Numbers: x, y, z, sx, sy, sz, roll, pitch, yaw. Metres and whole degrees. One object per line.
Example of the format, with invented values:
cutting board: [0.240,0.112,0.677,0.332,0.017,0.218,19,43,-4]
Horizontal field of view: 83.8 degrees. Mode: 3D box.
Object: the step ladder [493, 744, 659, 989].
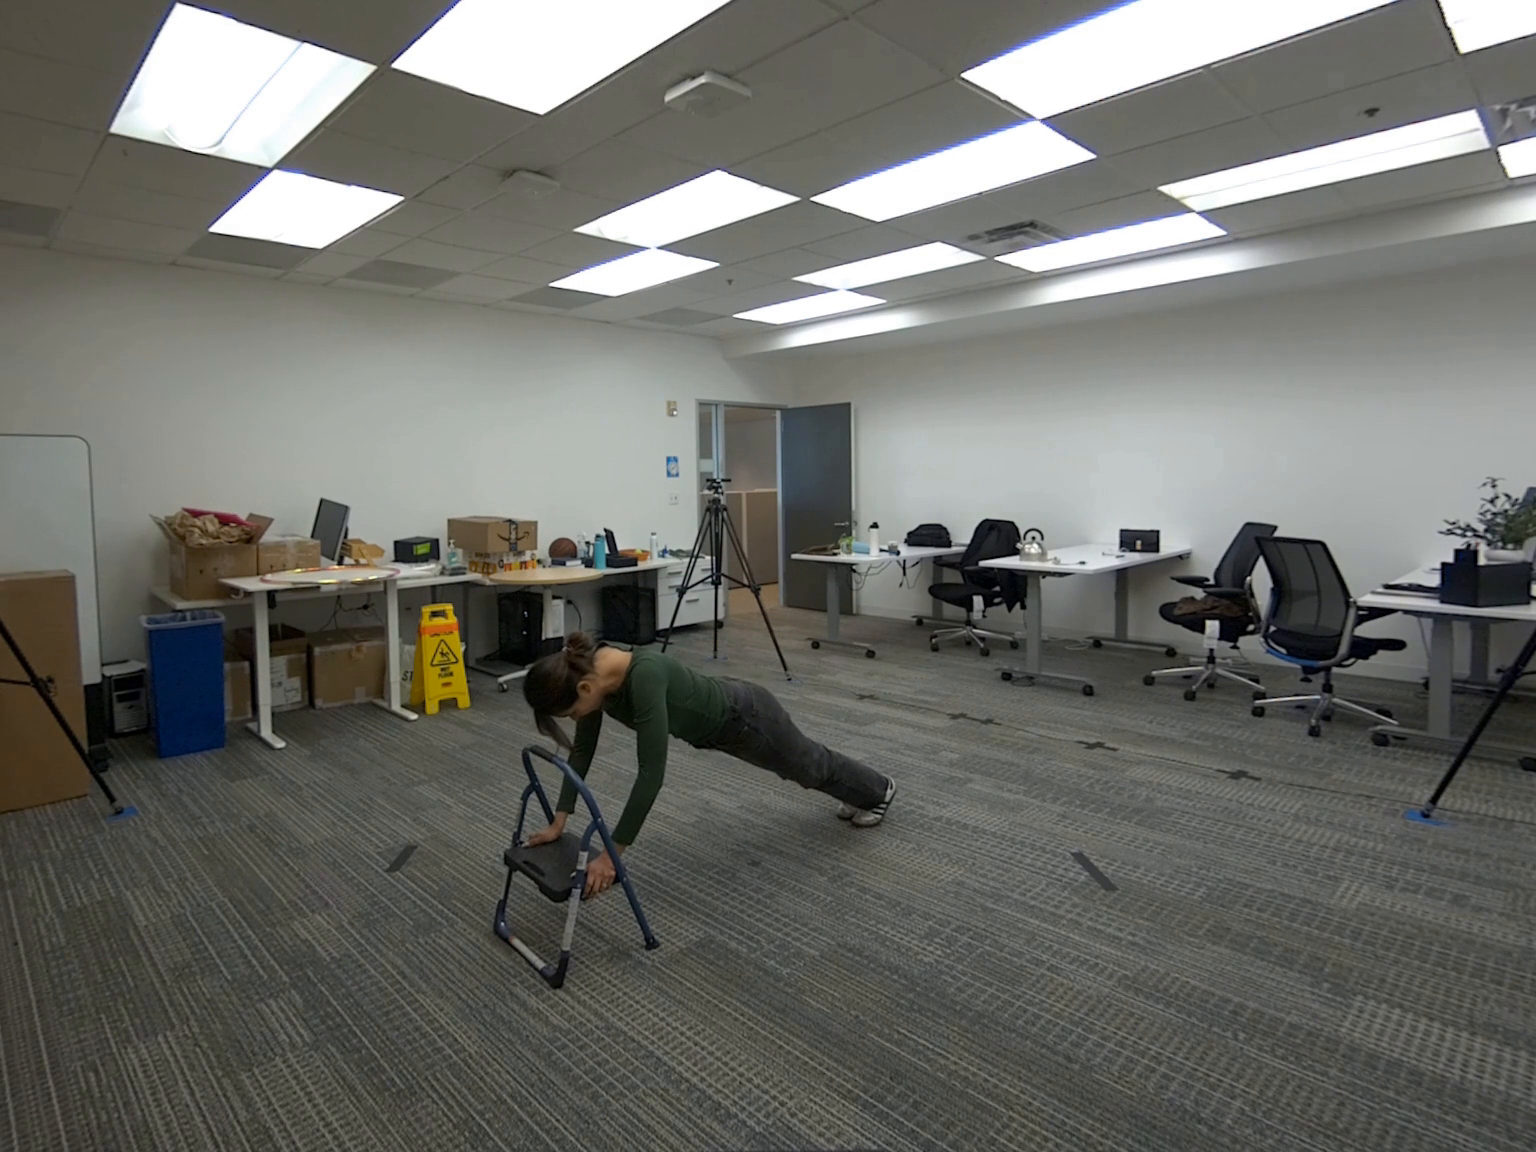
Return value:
step ladder: [-0.599,0.814,2.602,0.340,0.604,0.444,-5,6,-41]
